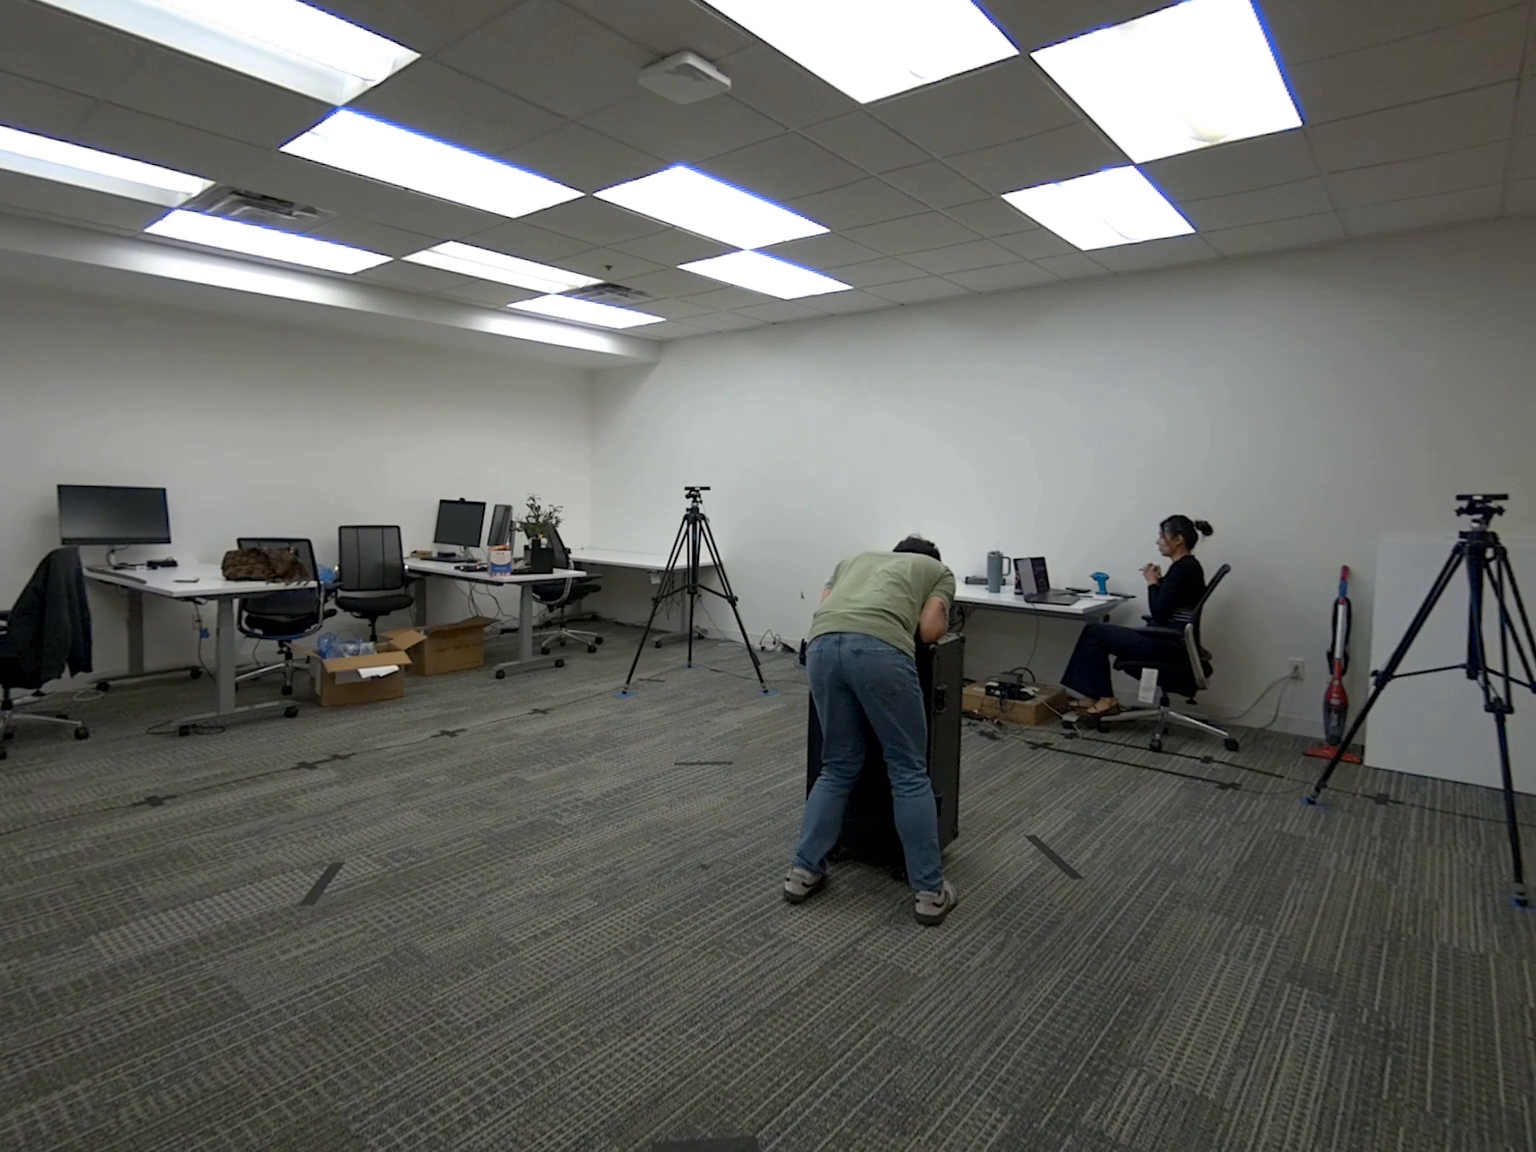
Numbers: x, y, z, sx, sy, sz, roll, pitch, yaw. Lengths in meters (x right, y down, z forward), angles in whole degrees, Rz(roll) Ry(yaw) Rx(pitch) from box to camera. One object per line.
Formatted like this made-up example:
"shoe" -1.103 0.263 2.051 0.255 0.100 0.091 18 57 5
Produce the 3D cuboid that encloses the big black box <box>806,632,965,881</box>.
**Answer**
"big black box" 0.440 0.639 3.260 0.537 0.860 0.385 3 2 31
